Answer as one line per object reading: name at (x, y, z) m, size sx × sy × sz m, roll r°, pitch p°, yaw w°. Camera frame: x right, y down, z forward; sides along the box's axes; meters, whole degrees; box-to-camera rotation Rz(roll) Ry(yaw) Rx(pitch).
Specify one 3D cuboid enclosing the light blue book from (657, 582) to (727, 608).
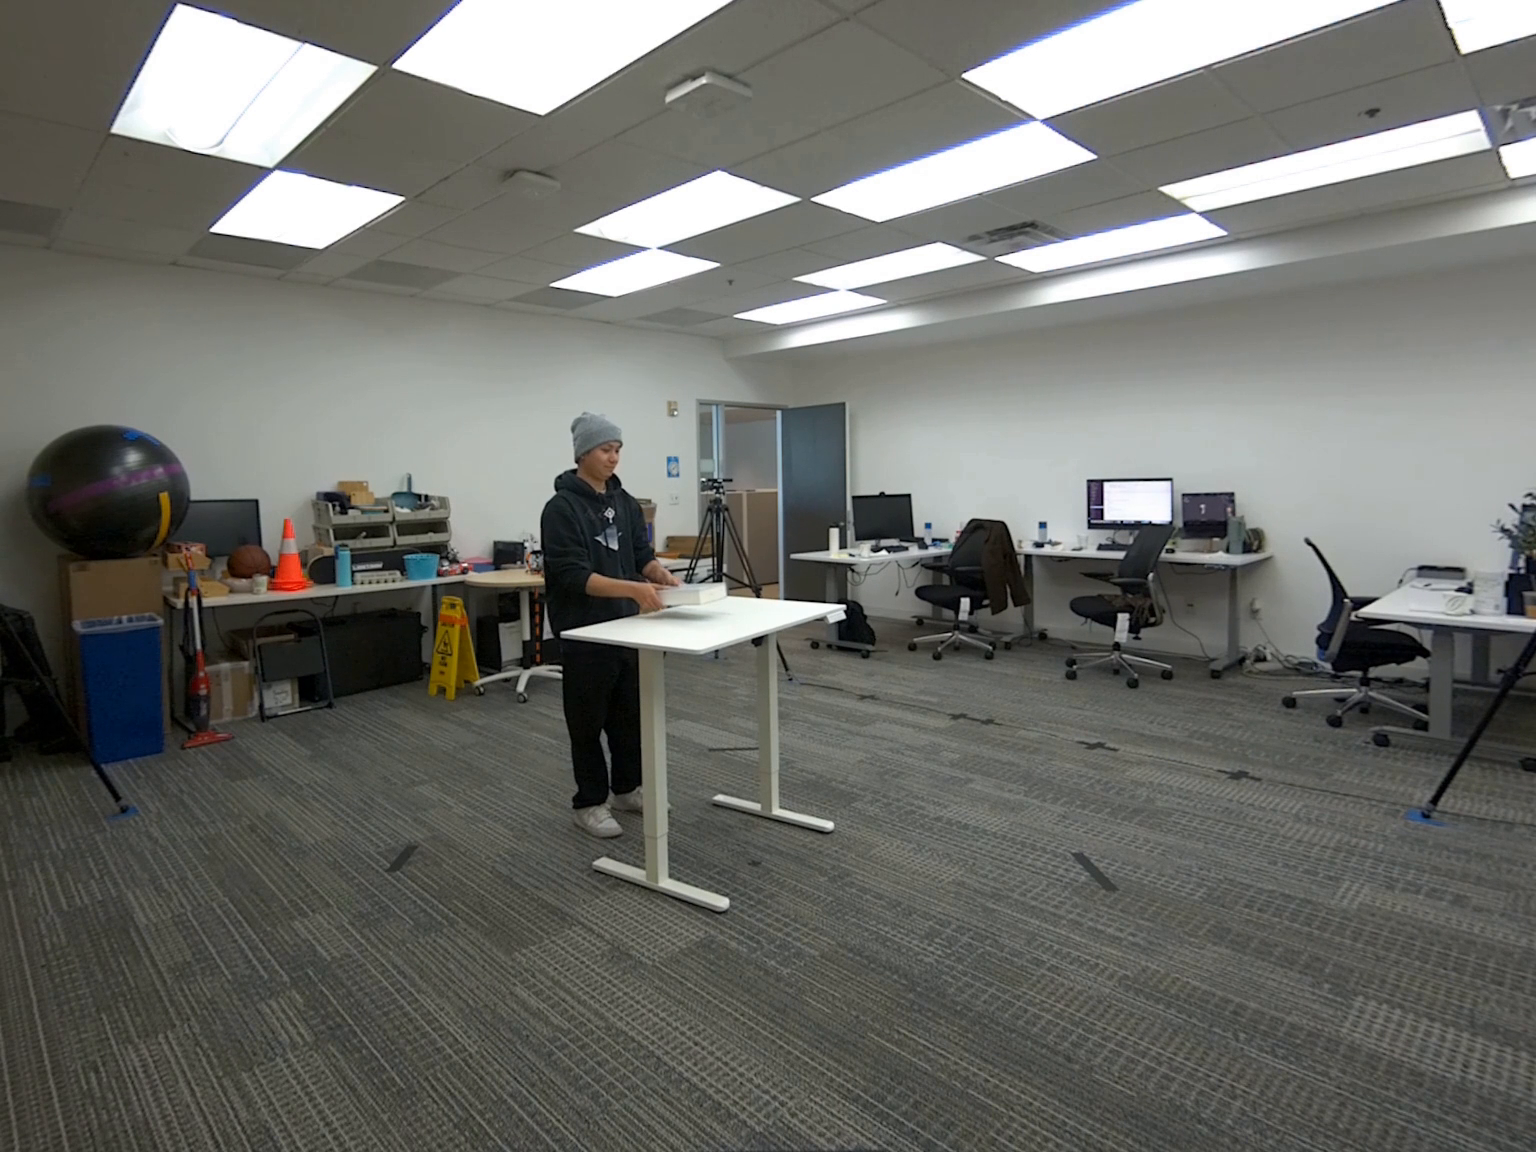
light blue book at (-0.314, 0.074, 3.207) m, size 0.266 × 0.059 × 0.188 m, roll -5°, pitch 4°, yaw 25°
